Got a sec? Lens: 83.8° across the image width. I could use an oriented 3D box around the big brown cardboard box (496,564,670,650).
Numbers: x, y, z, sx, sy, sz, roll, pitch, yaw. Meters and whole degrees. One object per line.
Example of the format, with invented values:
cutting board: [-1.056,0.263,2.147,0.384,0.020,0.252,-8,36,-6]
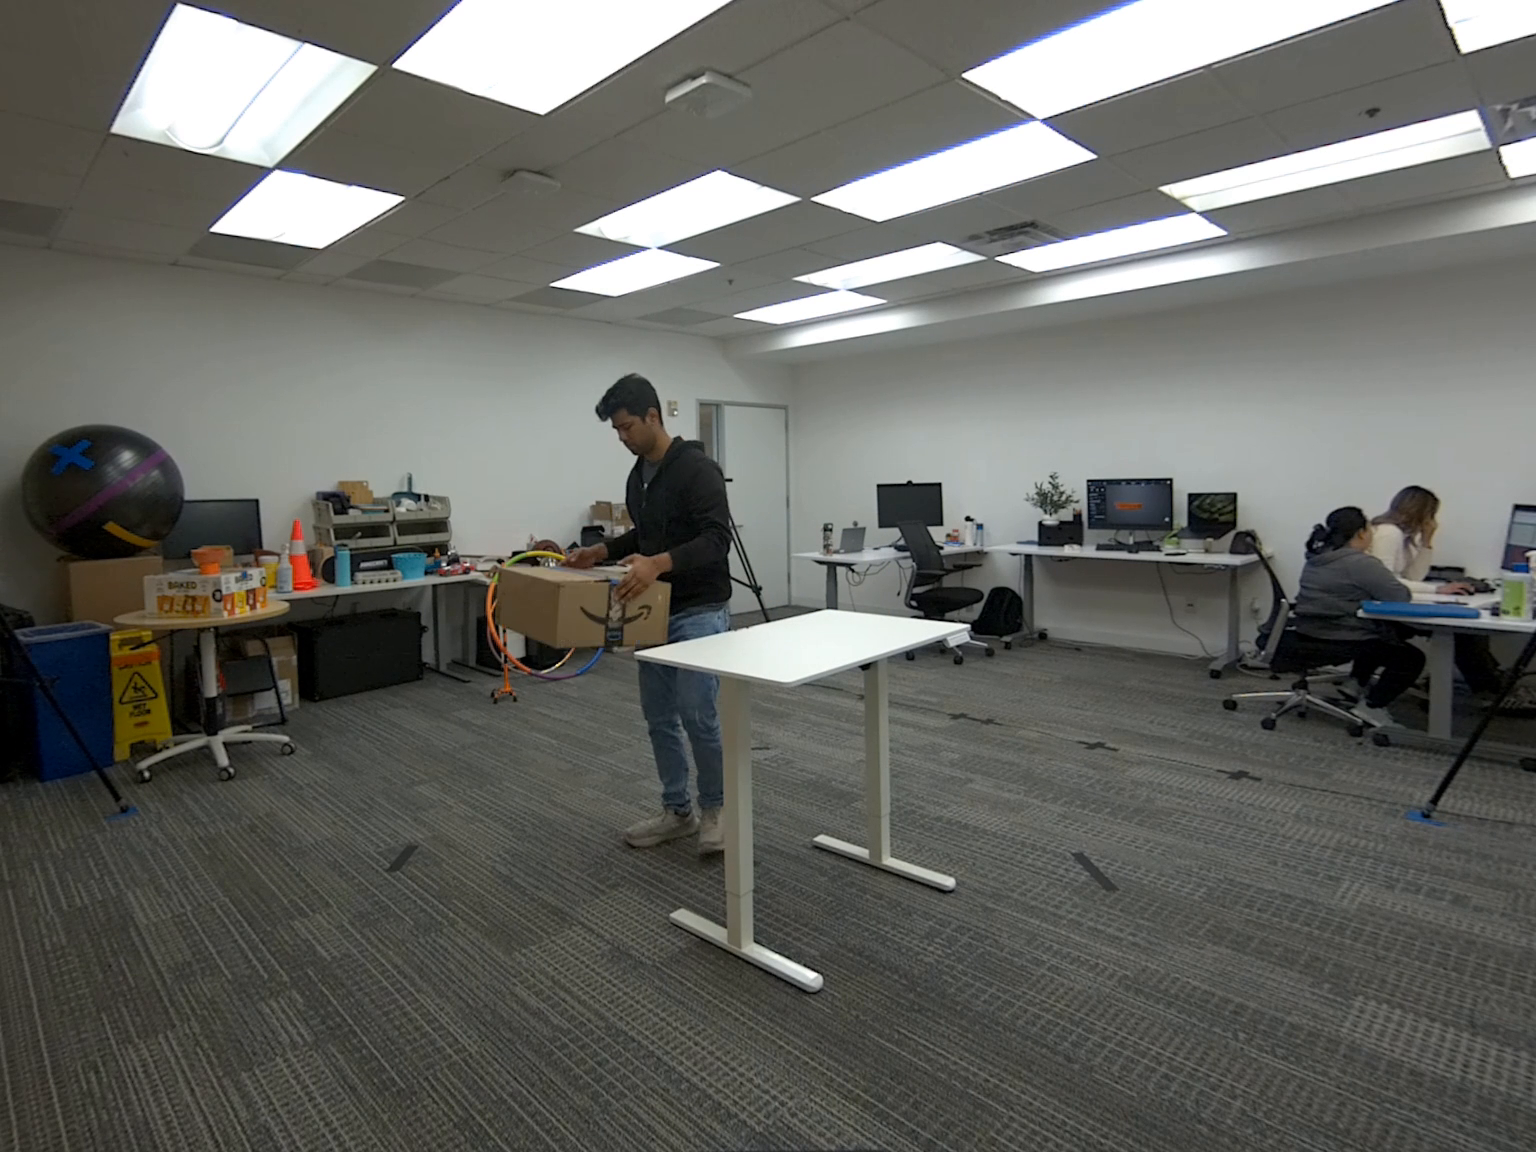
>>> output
big brown cardboard box: [-0.665,0.110,3.056,0.406,0.233,0.607,1,4,-36]
